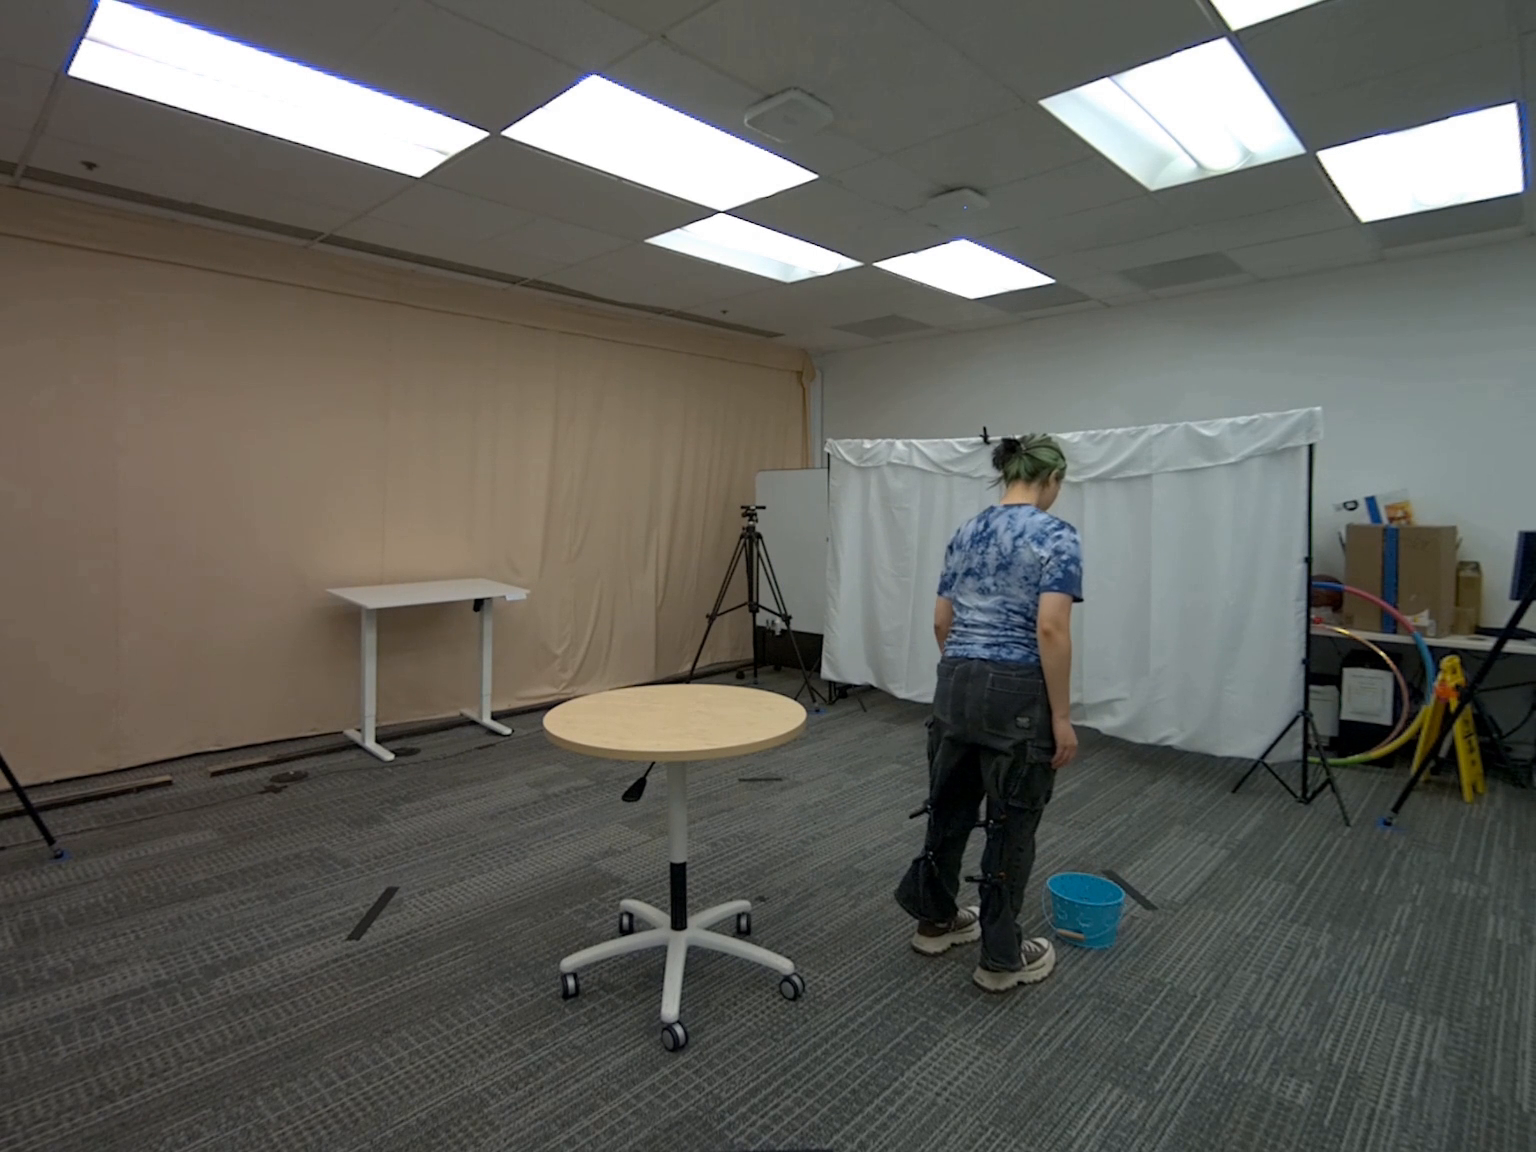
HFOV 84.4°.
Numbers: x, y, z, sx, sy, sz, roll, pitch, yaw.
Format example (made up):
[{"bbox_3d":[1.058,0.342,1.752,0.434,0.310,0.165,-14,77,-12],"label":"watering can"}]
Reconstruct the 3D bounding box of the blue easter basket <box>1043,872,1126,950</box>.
[{"bbox_3d":[1.026,1.085,2.725,0.243,0.155,0.244,0,3,-2],"label":"blue easter basket"}]
